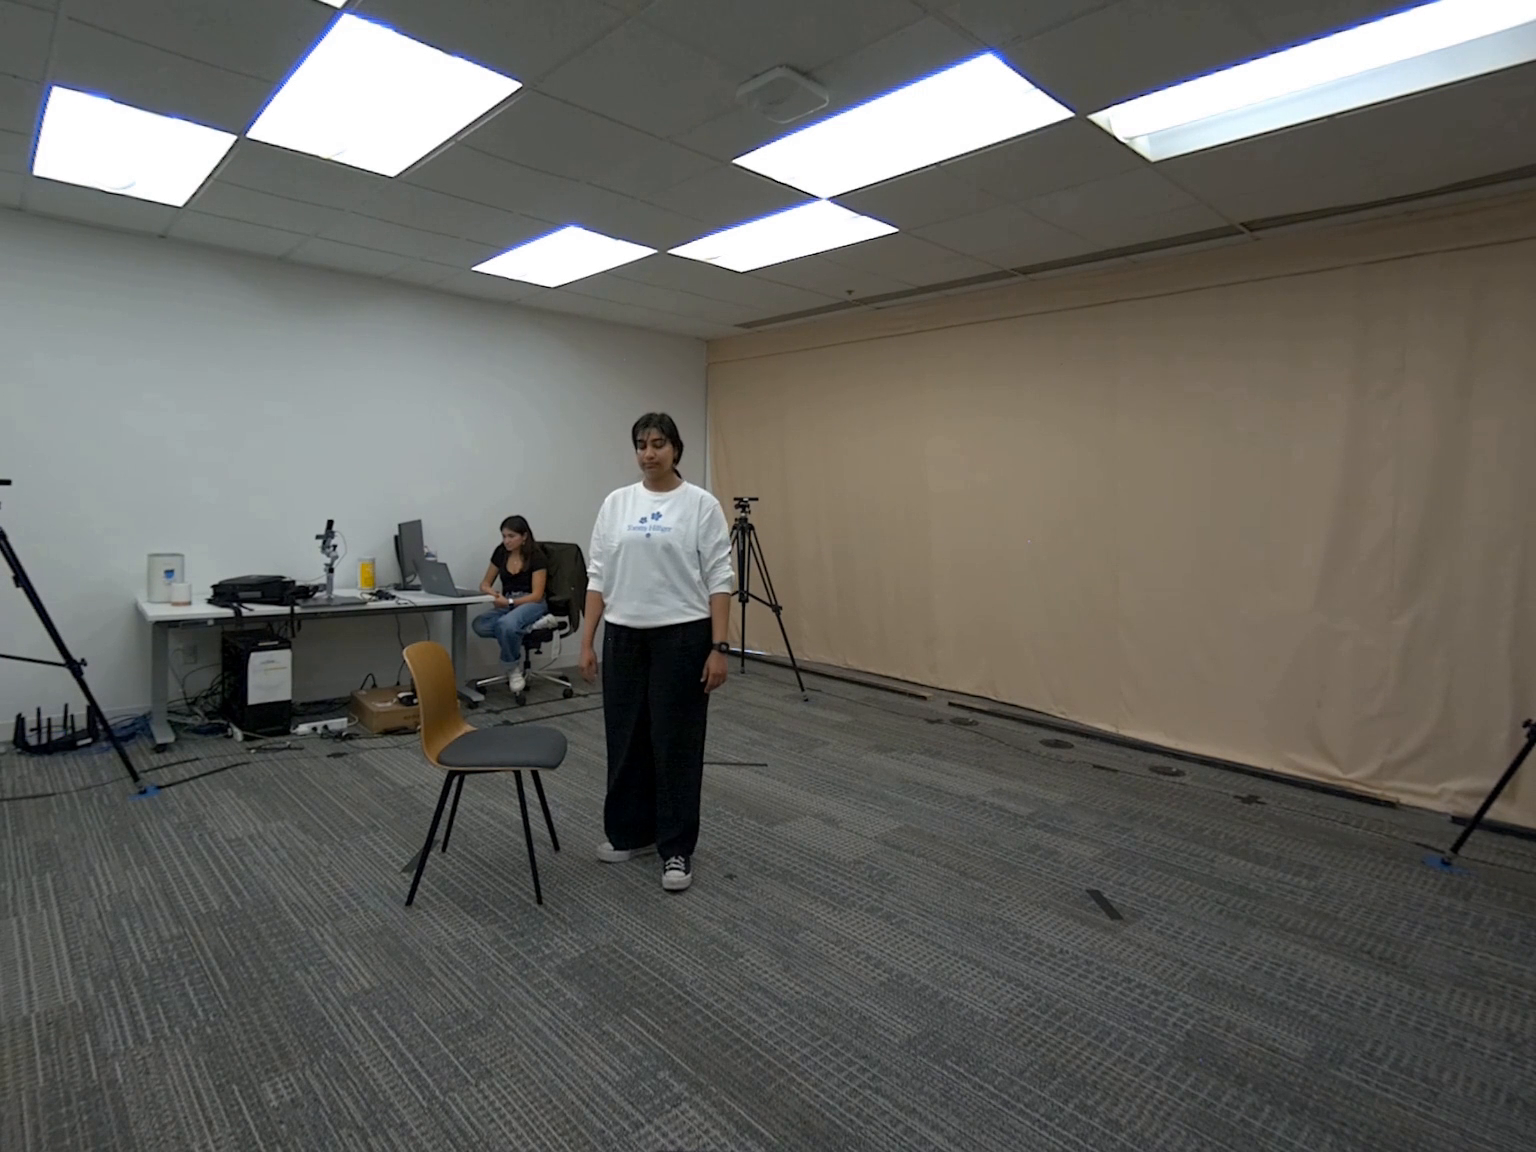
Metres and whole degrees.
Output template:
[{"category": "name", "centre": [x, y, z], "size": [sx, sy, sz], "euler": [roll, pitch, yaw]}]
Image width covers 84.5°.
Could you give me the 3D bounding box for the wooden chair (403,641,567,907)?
[{"category": "wooden chair", "centre": [-0.998, 0.667, 3.029], "size": [0.521, 0.875, 0.481], "euler": [-3, 3, -5]}]
